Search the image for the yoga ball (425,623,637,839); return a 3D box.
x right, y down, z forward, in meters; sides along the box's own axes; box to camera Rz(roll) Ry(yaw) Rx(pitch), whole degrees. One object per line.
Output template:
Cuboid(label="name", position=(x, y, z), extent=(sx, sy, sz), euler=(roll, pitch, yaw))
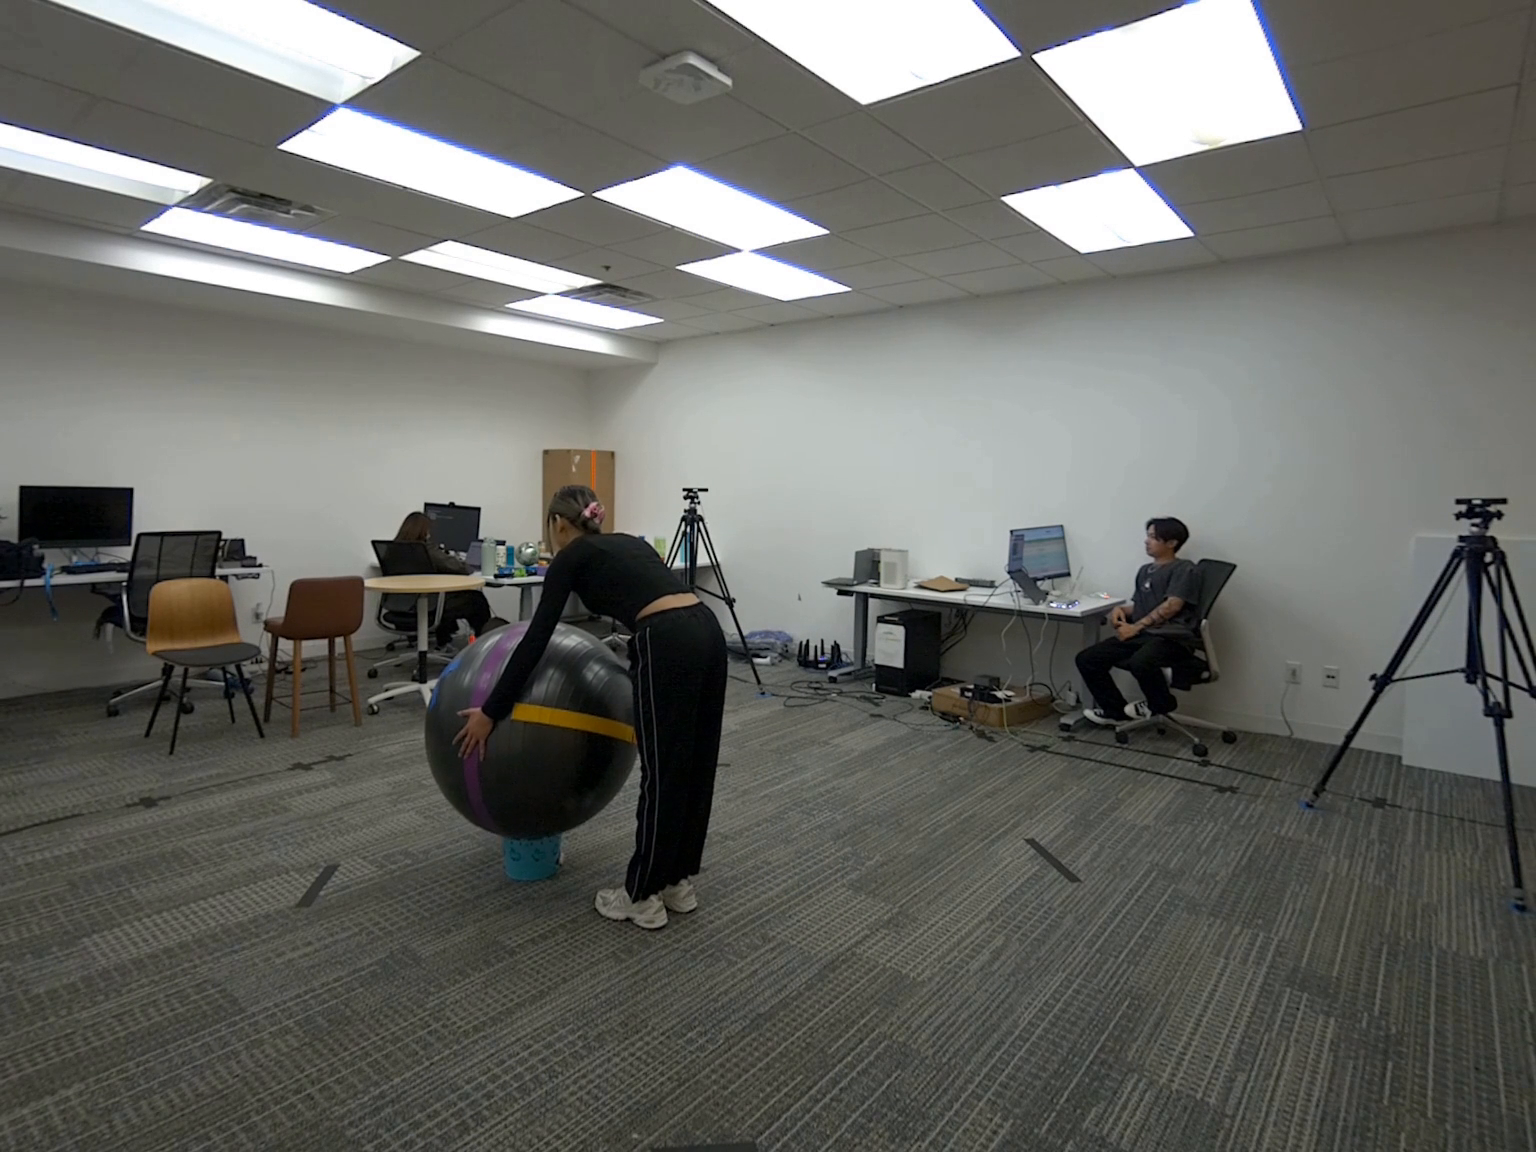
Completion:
Cuboid(label="yoga ball", position=(-0.845, 0.537, 3.042), extent=(0.757, 0.755, 0.762), euler=(1, 4, -2))
